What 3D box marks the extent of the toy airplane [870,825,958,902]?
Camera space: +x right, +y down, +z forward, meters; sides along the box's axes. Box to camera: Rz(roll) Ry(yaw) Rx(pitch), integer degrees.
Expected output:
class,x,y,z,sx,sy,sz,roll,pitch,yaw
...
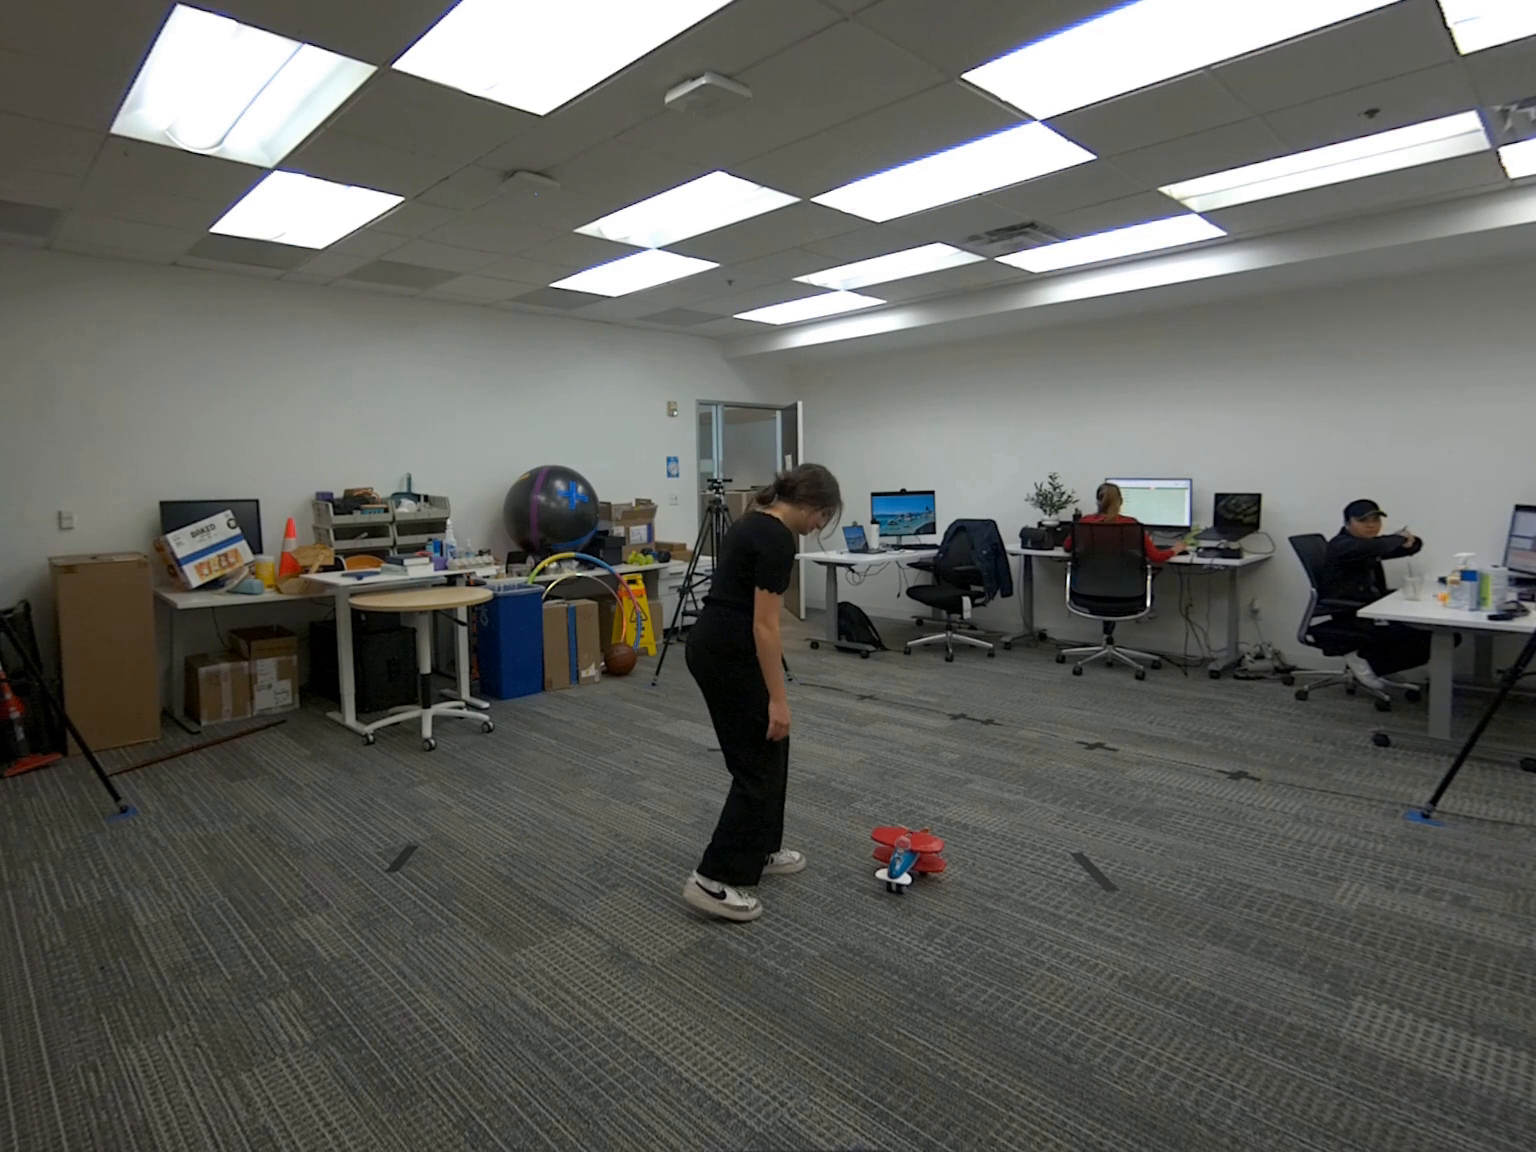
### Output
class,x,y,z,sx,sy,sz,roll,pitch,yaw
toy airplane,0.491,0.977,2.932,0.252,0.156,0.259,-1,4,2
